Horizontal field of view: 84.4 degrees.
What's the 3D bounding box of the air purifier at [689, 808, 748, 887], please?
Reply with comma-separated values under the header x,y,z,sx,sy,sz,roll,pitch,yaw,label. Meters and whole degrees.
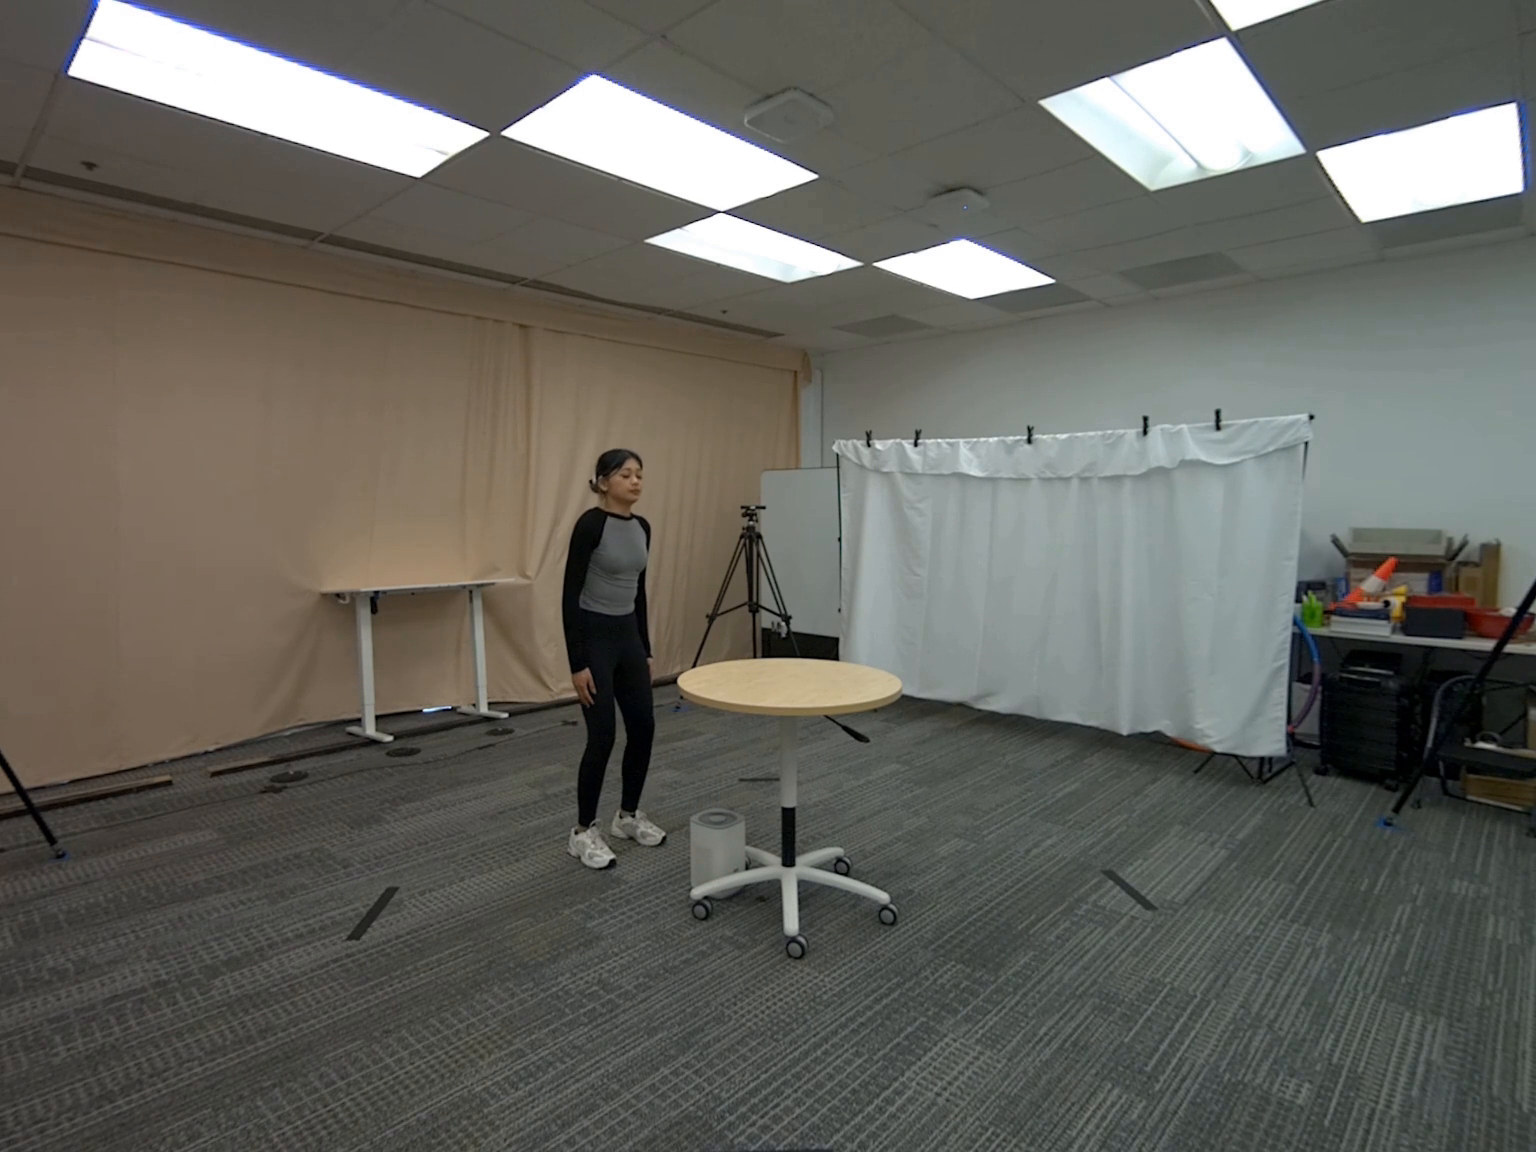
x,y,z,sx,sy,sz,roll,pitch,yaw,label
-0.183,1.006,3.048,0.177,0.265,0.166,3,5,38,air purifier
